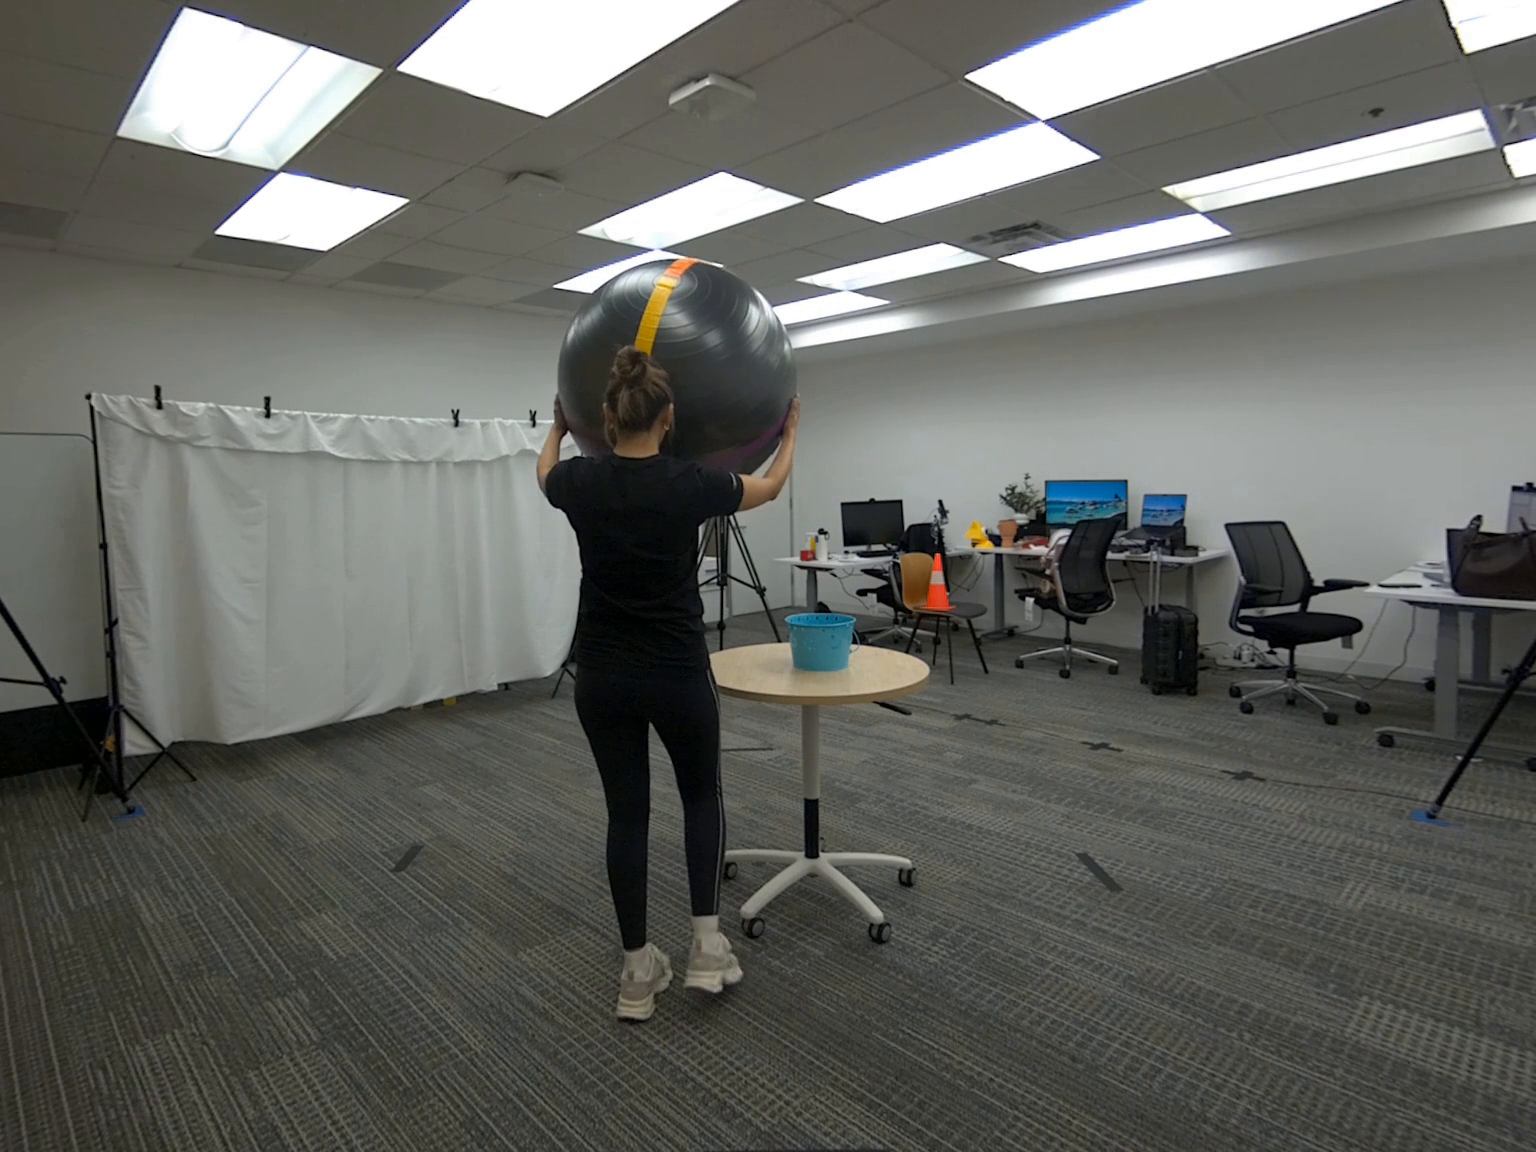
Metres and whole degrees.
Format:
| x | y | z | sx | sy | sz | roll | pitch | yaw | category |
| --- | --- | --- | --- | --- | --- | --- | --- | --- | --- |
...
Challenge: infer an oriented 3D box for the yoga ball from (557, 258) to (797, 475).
| x | y | z | sx | sy | sz | roll | pitch | yaw | category |
| --- | --- | --- | --- | --- | --- | --- | --- | --- | --- |
| -0.283 | -0.615 | 2.723 | 0.757 | 0.755 | 0.762 | -1 | 5 | -2 | yoga ball |
